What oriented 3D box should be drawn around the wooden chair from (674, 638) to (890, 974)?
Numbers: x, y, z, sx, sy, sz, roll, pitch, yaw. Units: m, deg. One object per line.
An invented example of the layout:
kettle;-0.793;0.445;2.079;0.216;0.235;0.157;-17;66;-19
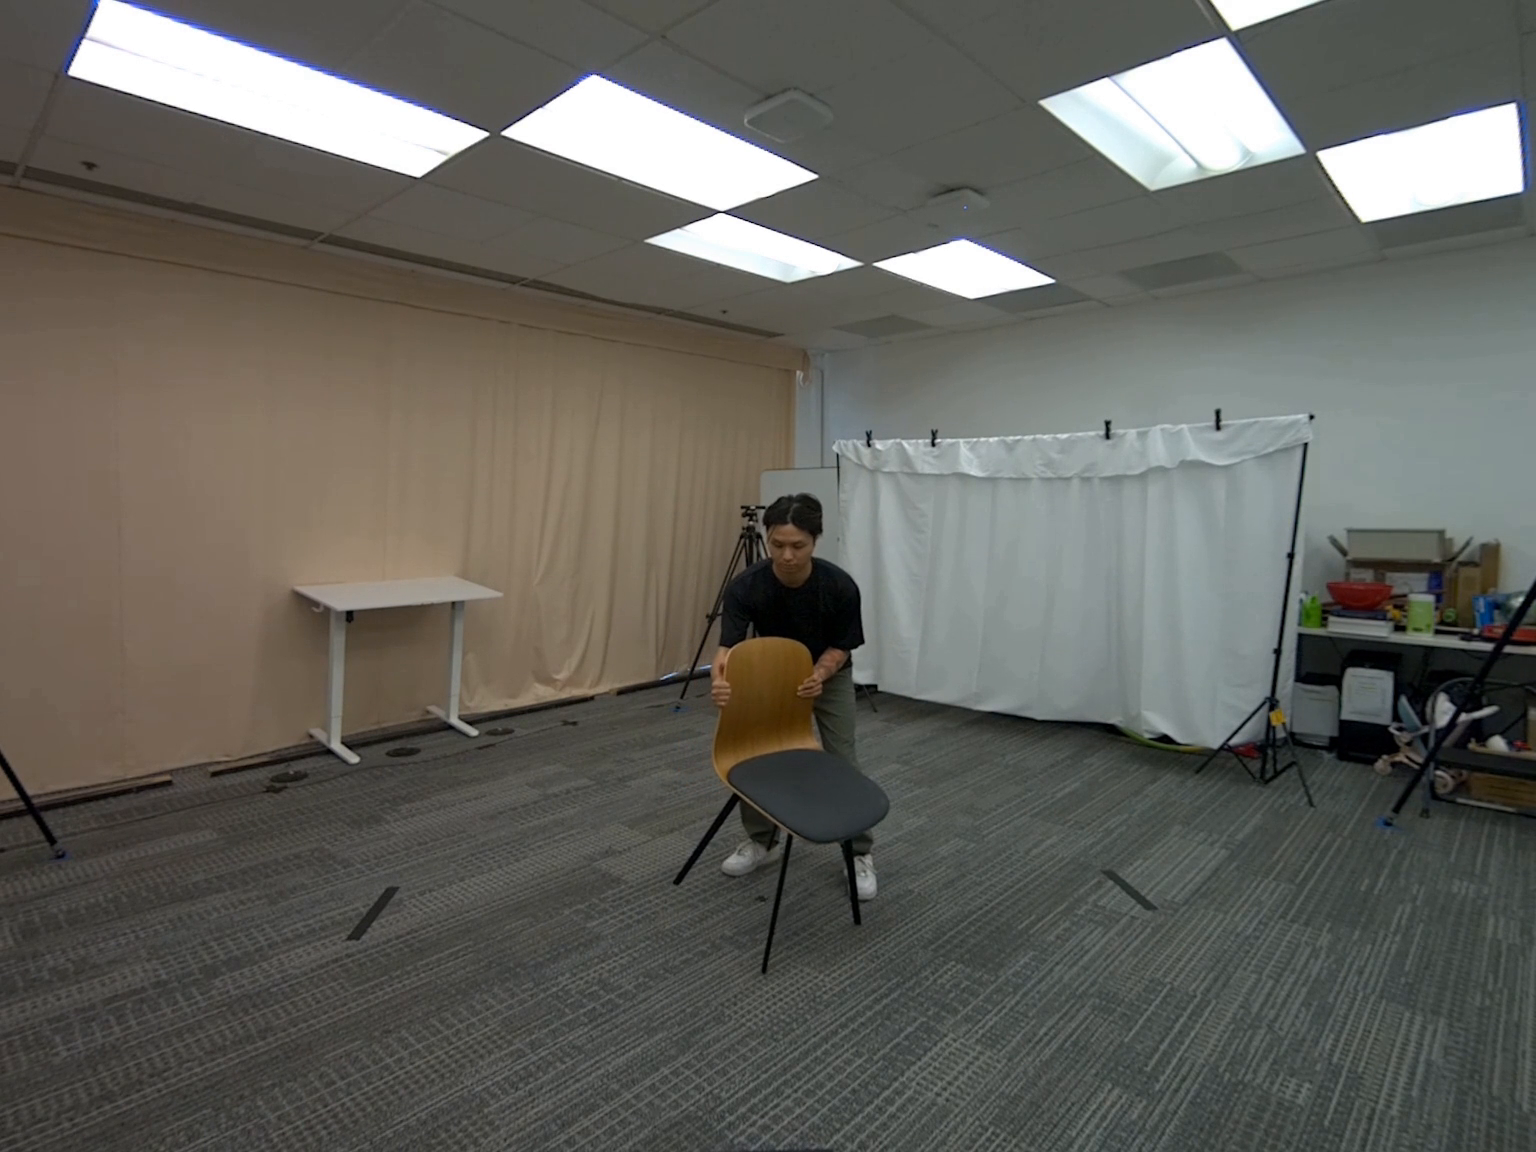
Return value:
wooden chair;0.085;0.692;2.691;0.463;0.872;0.542;-3;16;-43
